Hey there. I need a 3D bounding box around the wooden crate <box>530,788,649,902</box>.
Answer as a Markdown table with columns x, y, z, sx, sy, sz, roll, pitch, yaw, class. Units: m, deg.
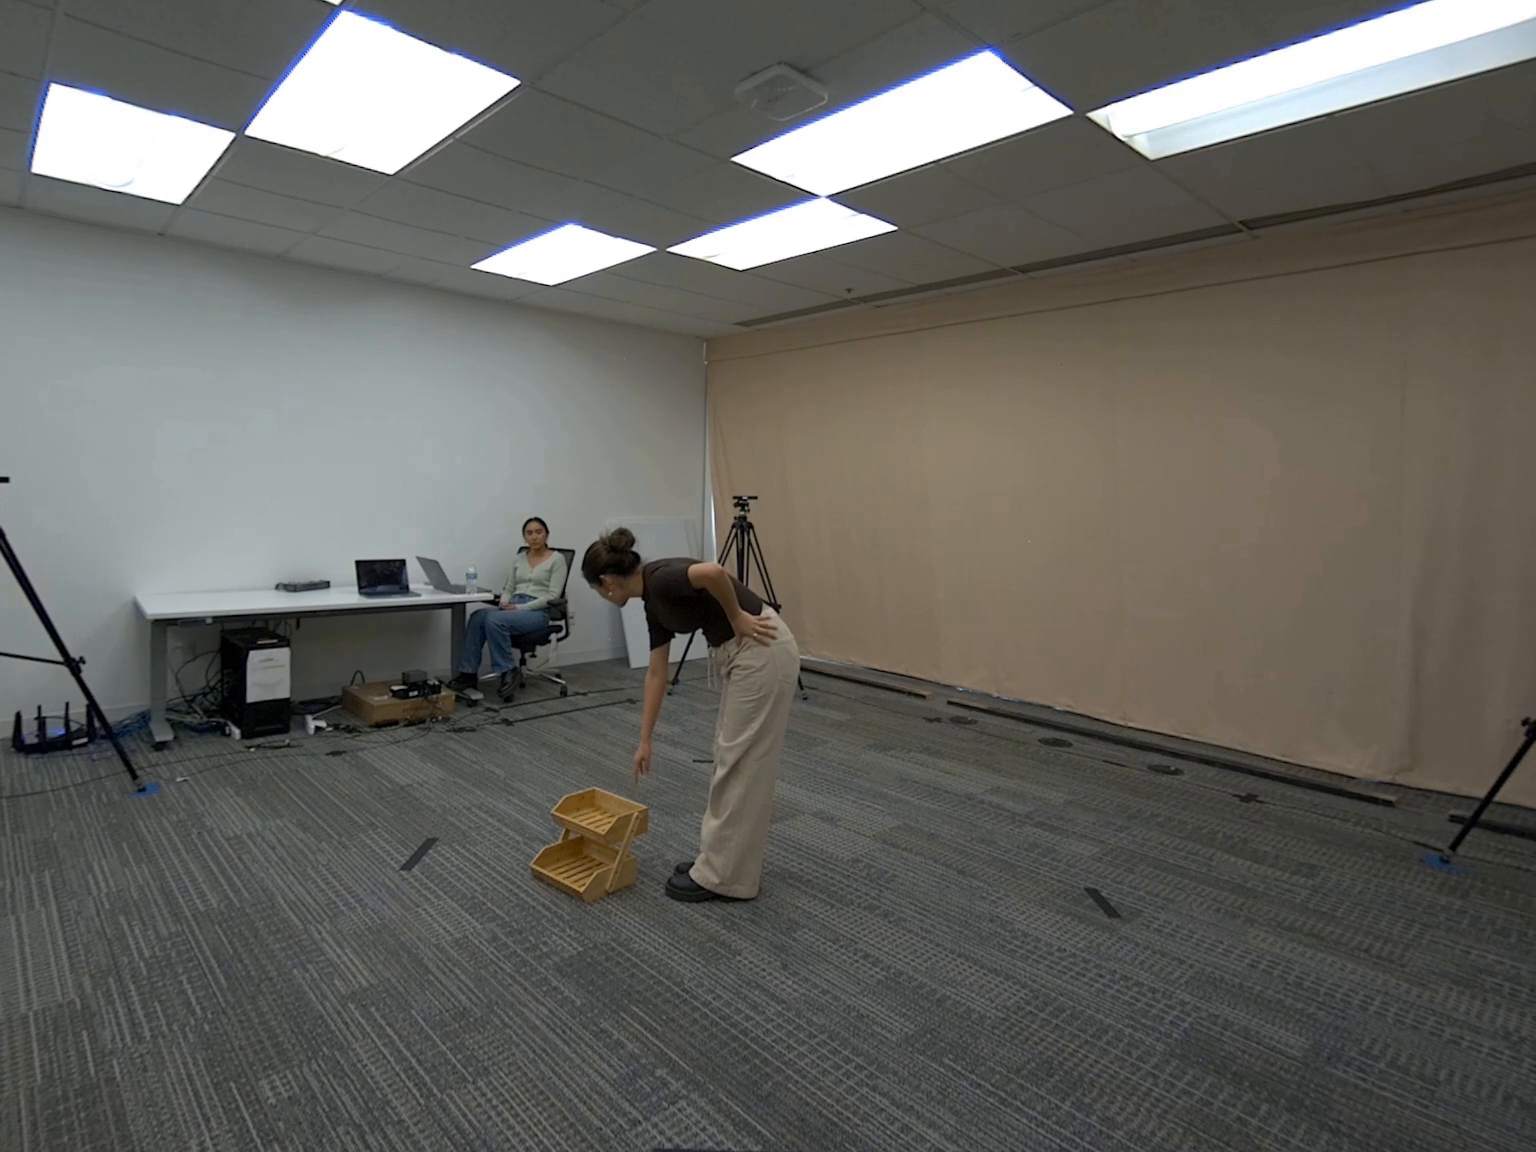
| x | y | z | sx | sy | sz | roll | pitch | yaw | class |
| --- | --- | --- | --- | --- | --- | --- | --- | --- | --- |
| -0.650 | 0.956 | 3.048 | 0.333 | 0.273 | 0.295 | 5 | 5 | 40 | wooden crate |
